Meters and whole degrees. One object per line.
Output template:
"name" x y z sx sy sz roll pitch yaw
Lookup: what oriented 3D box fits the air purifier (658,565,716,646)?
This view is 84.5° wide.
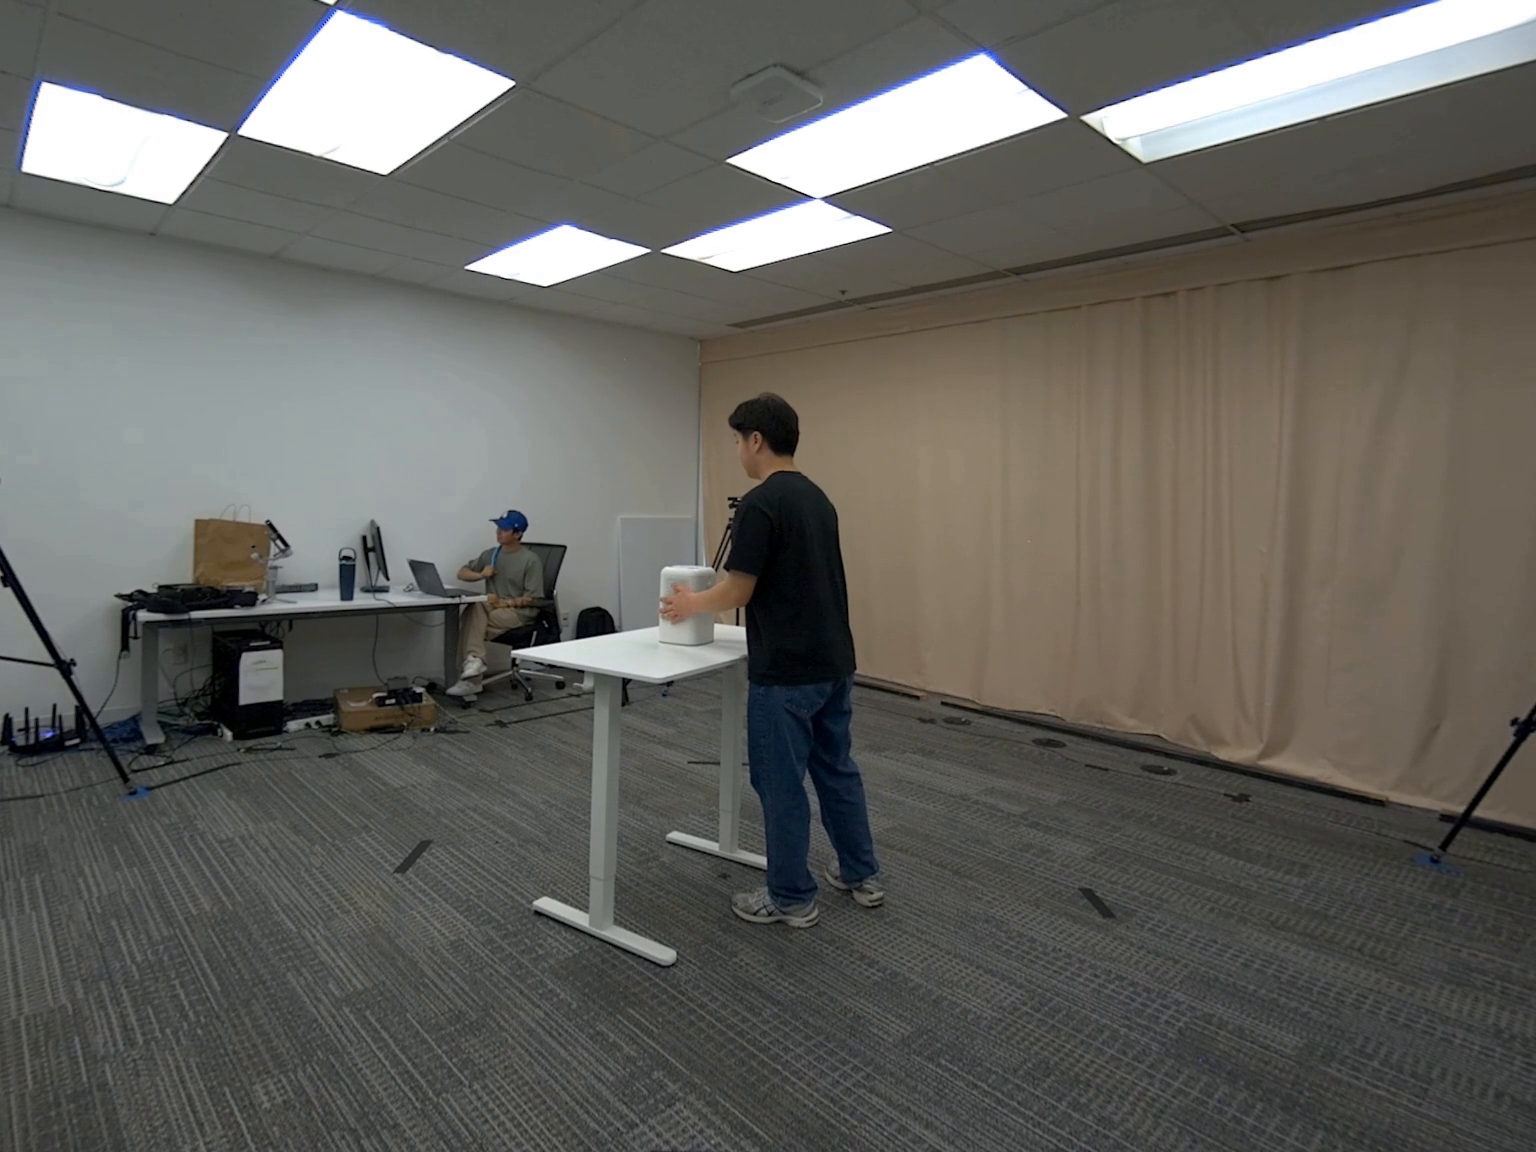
"air purifier" -0.286 0.101 2.976 0.175 0.265 0.168 4 4 24
